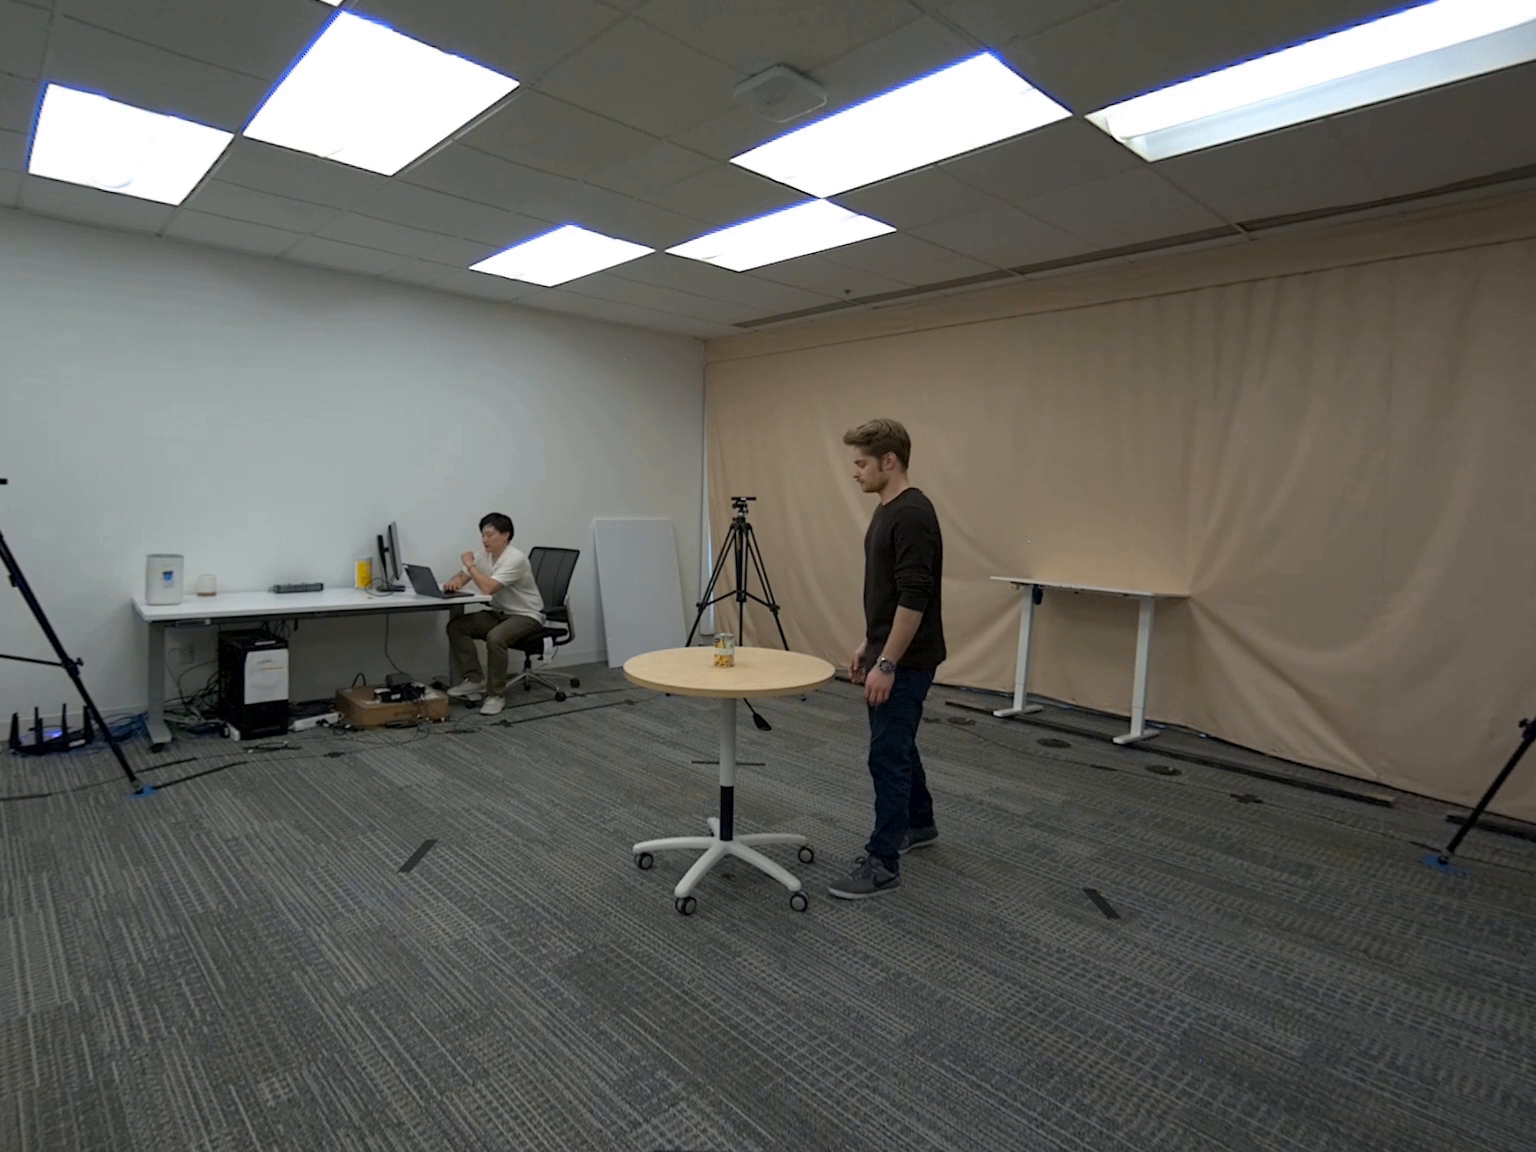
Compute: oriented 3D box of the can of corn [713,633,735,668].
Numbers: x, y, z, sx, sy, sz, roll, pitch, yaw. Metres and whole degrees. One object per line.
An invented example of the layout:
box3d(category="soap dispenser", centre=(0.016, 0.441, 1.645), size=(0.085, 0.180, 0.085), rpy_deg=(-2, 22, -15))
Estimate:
box3d(category="can of corn", centre=(-0.161, 0.271, 3.057), size=(0.074, 0.111, 0.074), rpy_deg=(2, 1, -1))
